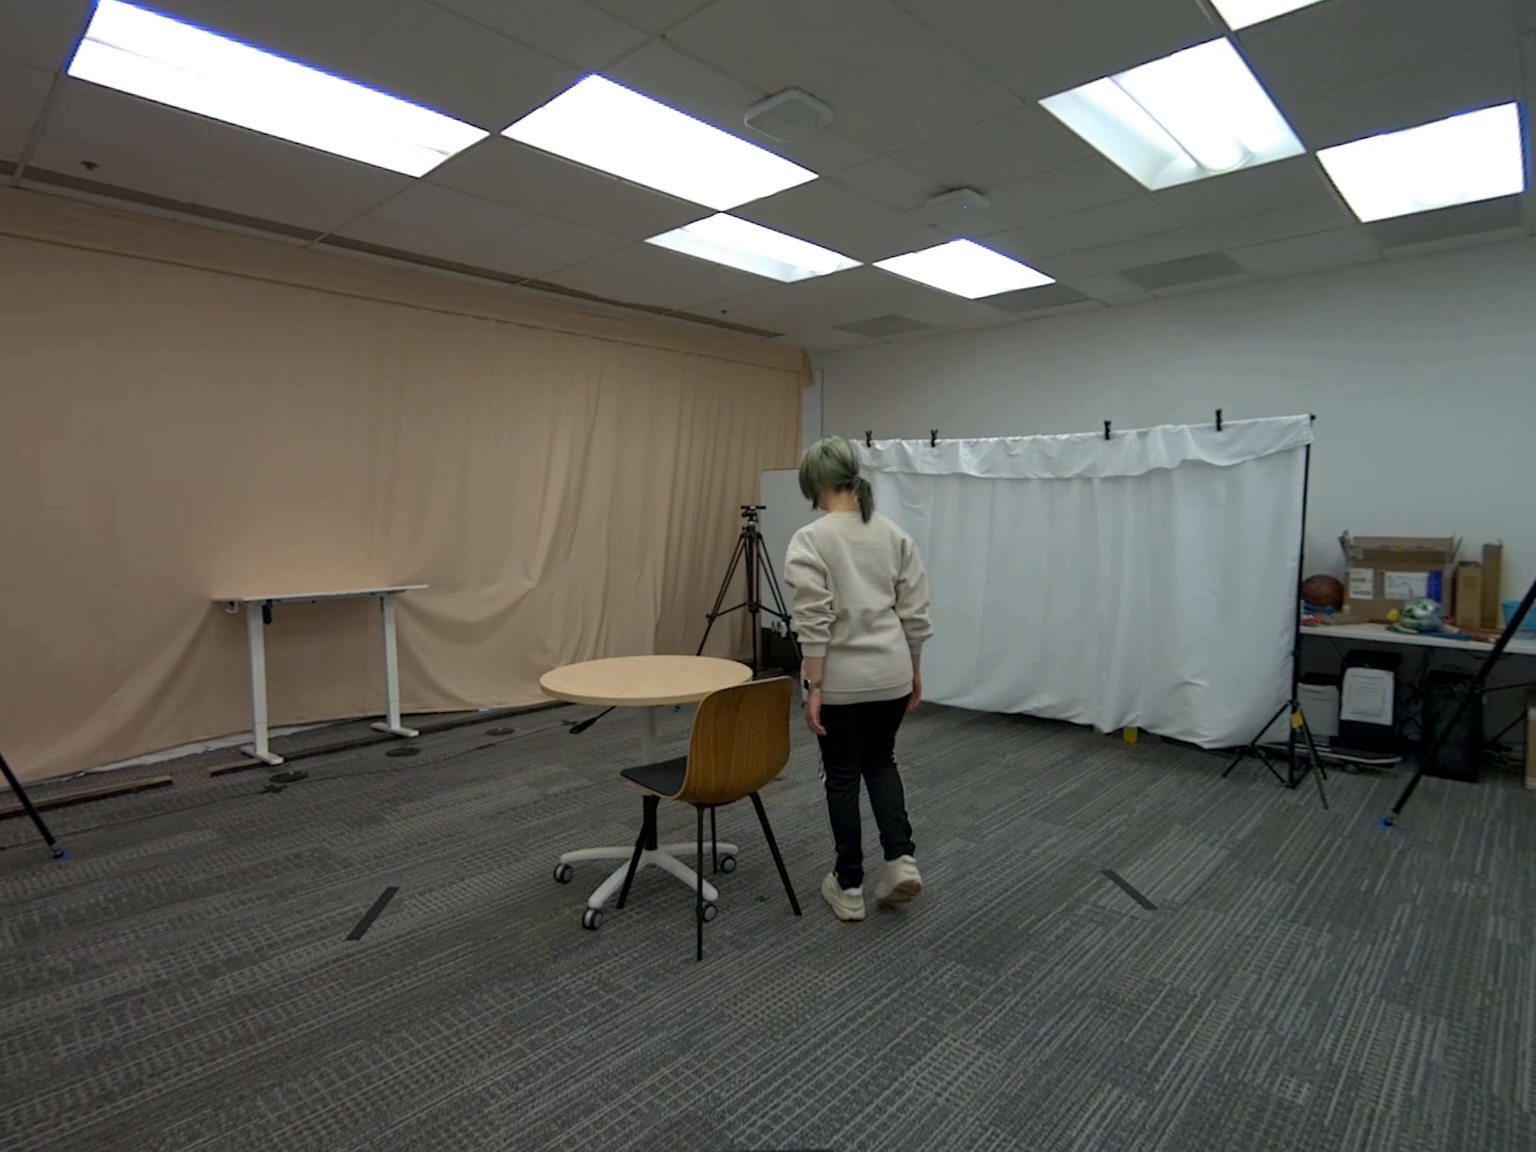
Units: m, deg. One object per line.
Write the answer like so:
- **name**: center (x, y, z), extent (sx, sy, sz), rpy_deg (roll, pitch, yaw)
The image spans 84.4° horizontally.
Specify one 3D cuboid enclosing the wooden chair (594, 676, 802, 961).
- **wooden chair**: center (-0.213, 0.728, 2.865), extent (0.464, 0.874, 0.541), rpy_deg (-4, 9, -41)
